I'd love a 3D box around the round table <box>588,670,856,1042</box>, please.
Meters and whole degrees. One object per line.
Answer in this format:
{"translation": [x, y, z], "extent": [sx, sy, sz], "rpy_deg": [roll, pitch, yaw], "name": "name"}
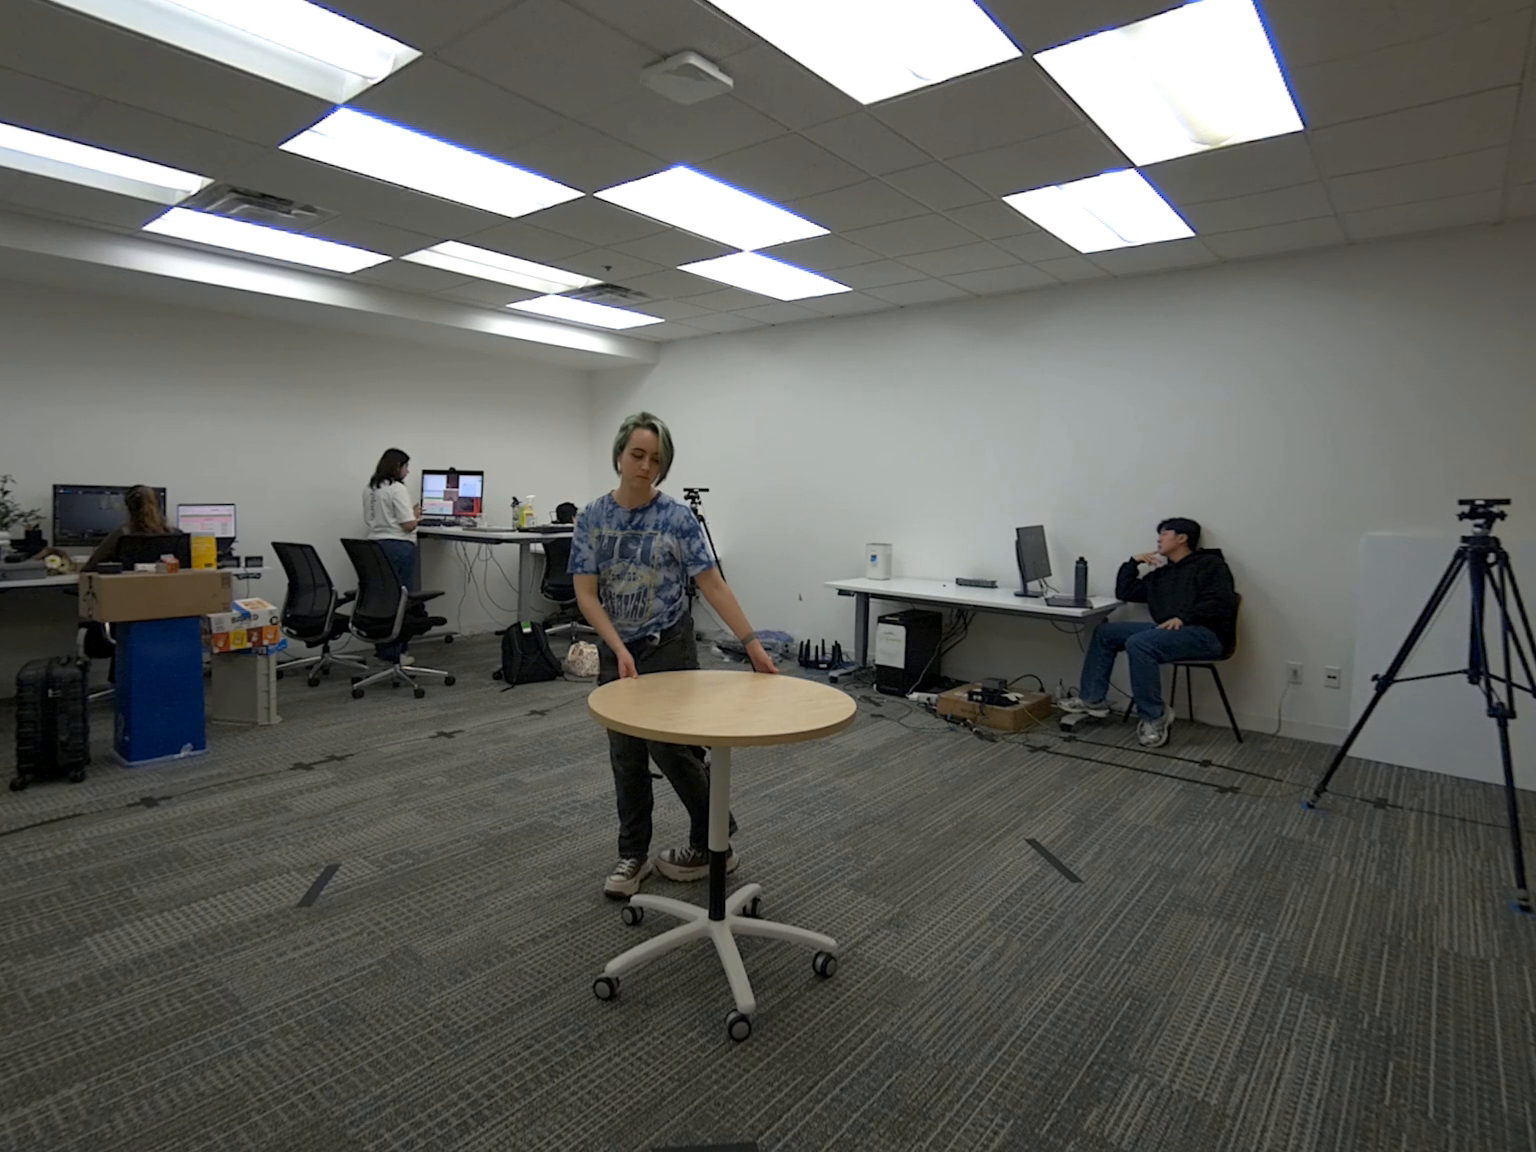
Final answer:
{"translation": [-0.153, 0.742, 2.473], "extent": [0.763, 0.791, 0.768], "rpy_deg": [1, 4, -2], "name": "round table"}
